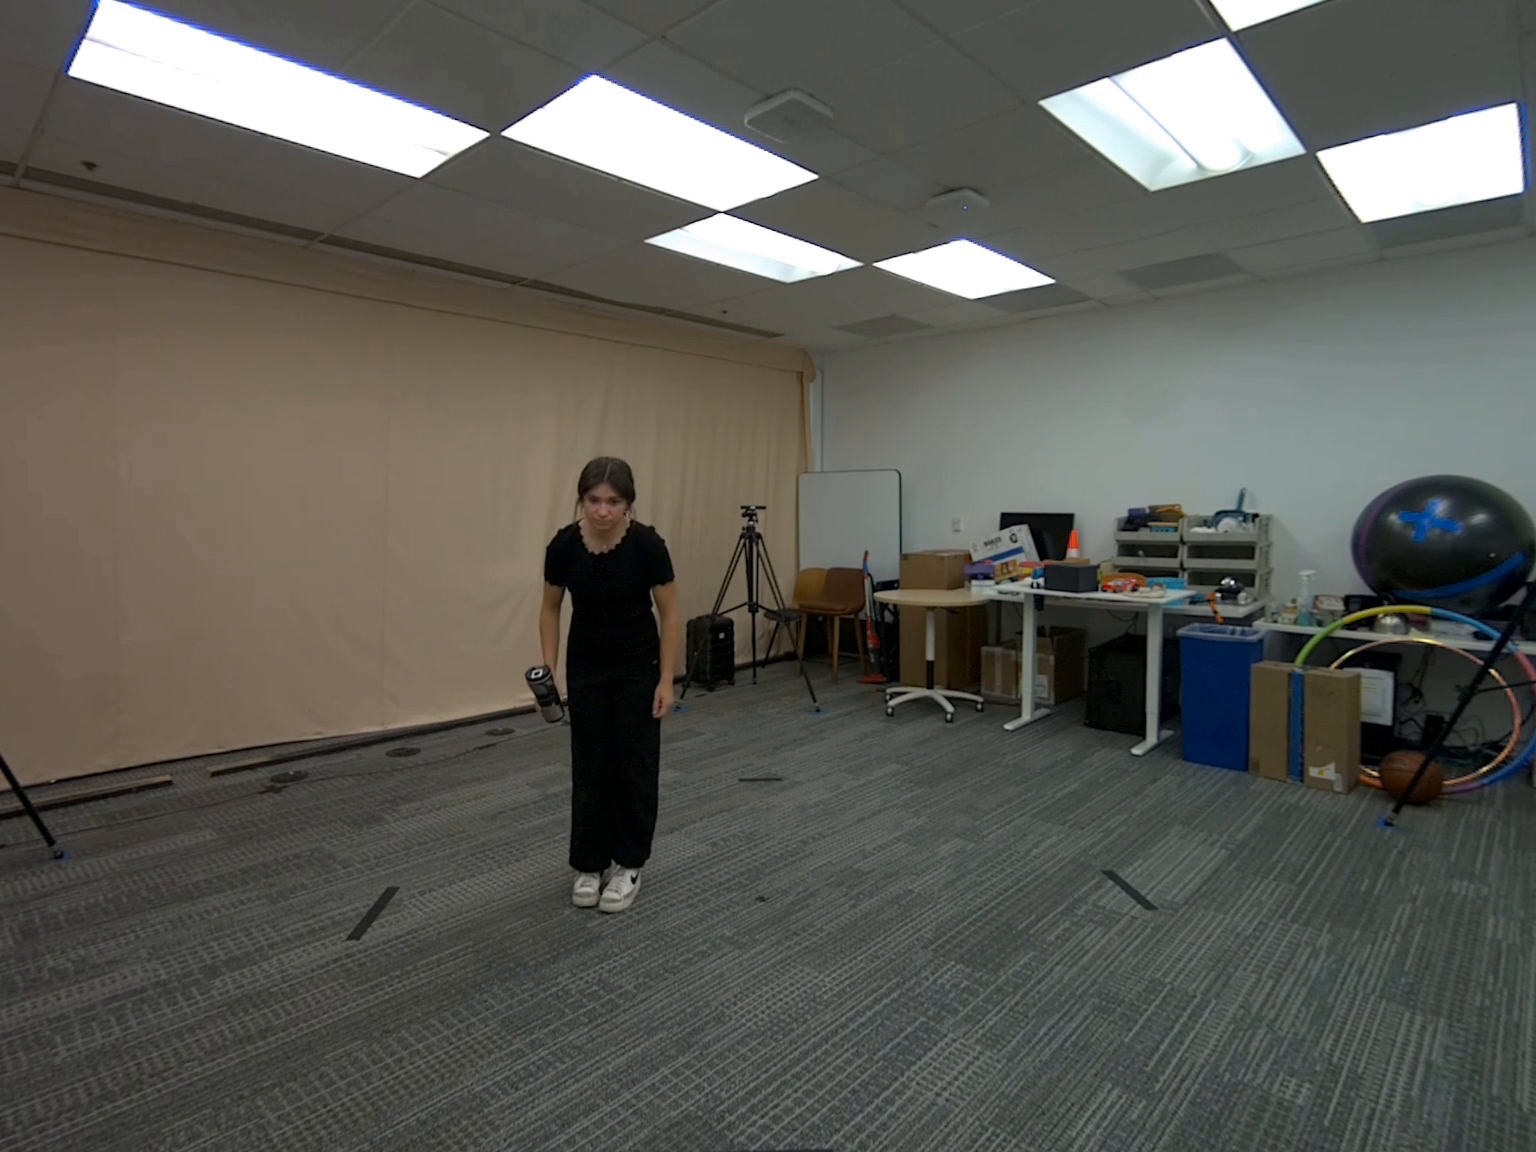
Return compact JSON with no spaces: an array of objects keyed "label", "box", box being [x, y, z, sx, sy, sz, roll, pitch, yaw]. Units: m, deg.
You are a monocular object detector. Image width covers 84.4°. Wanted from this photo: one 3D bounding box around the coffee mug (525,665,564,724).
[{"label":"coffee mug","box":[-0.745,0.416,2.831,0.086,0.199,0.126,-20,27,-19]}]
